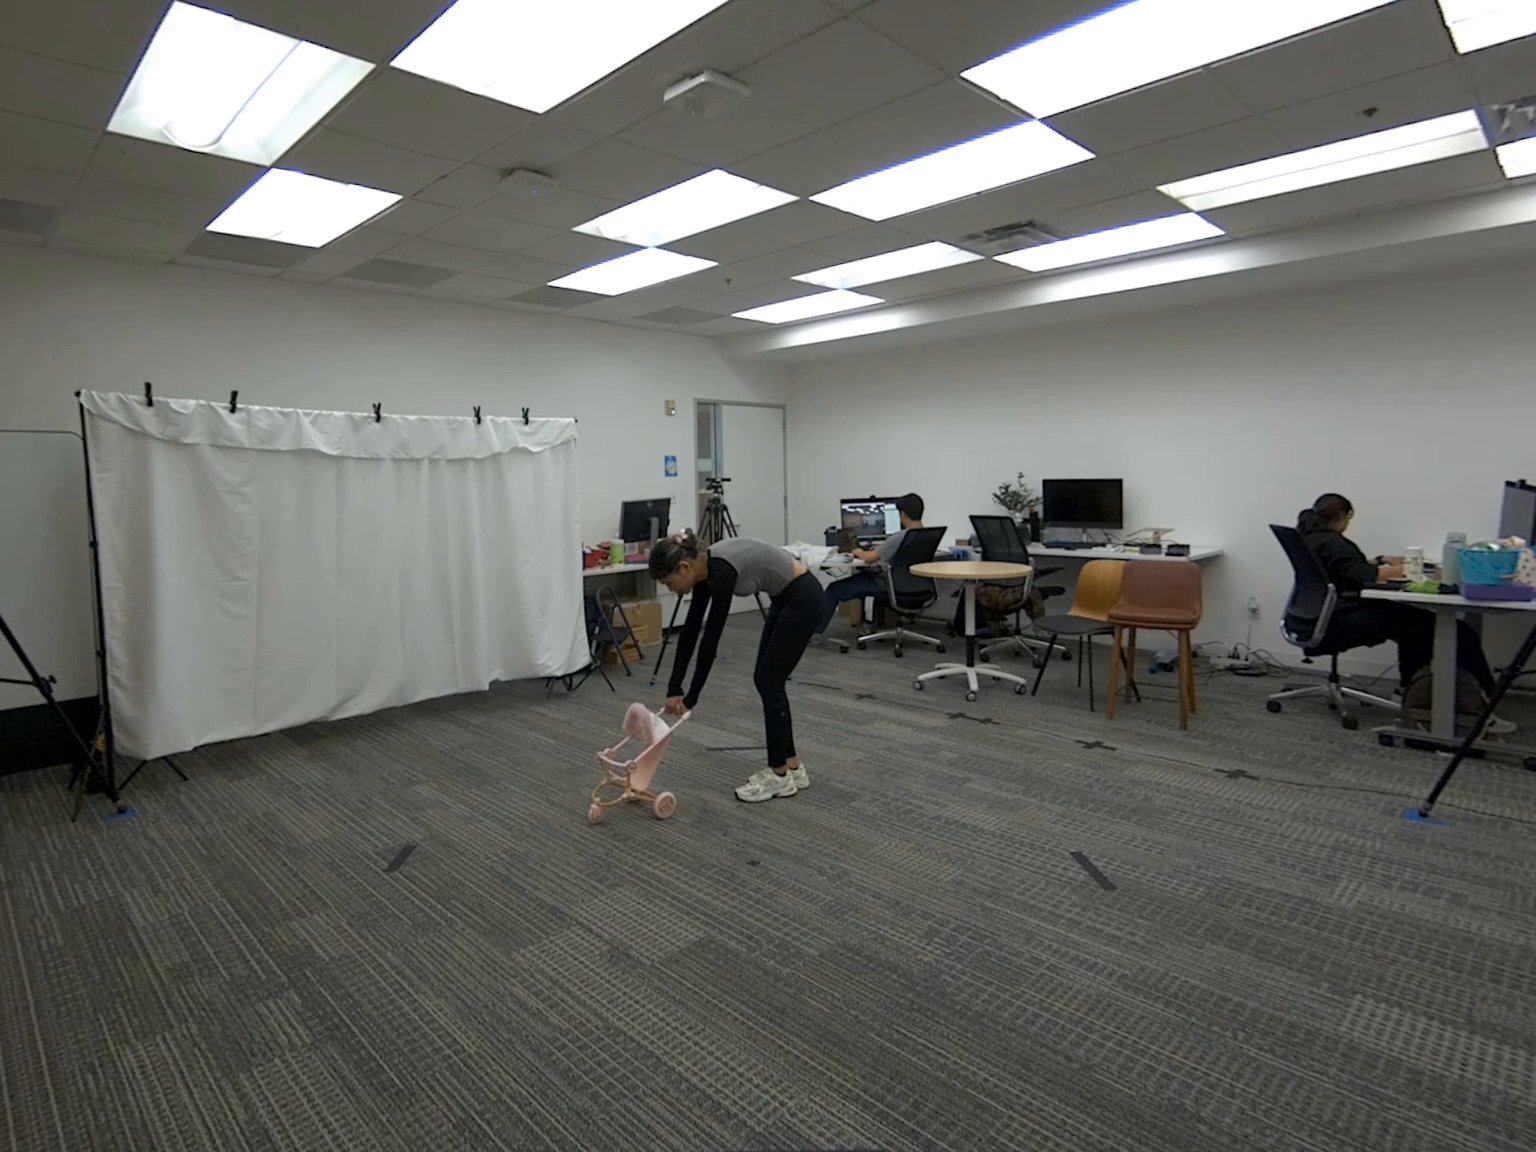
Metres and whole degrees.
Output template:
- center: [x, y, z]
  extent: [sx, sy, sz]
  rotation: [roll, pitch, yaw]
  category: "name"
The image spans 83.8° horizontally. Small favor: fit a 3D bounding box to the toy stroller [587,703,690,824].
- center: [-0.545, 0.770, 3.592]
  extent: [0.331, 0.537, 0.289]
  rotation: [16, -6, -32]
  category: "toy stroller"
